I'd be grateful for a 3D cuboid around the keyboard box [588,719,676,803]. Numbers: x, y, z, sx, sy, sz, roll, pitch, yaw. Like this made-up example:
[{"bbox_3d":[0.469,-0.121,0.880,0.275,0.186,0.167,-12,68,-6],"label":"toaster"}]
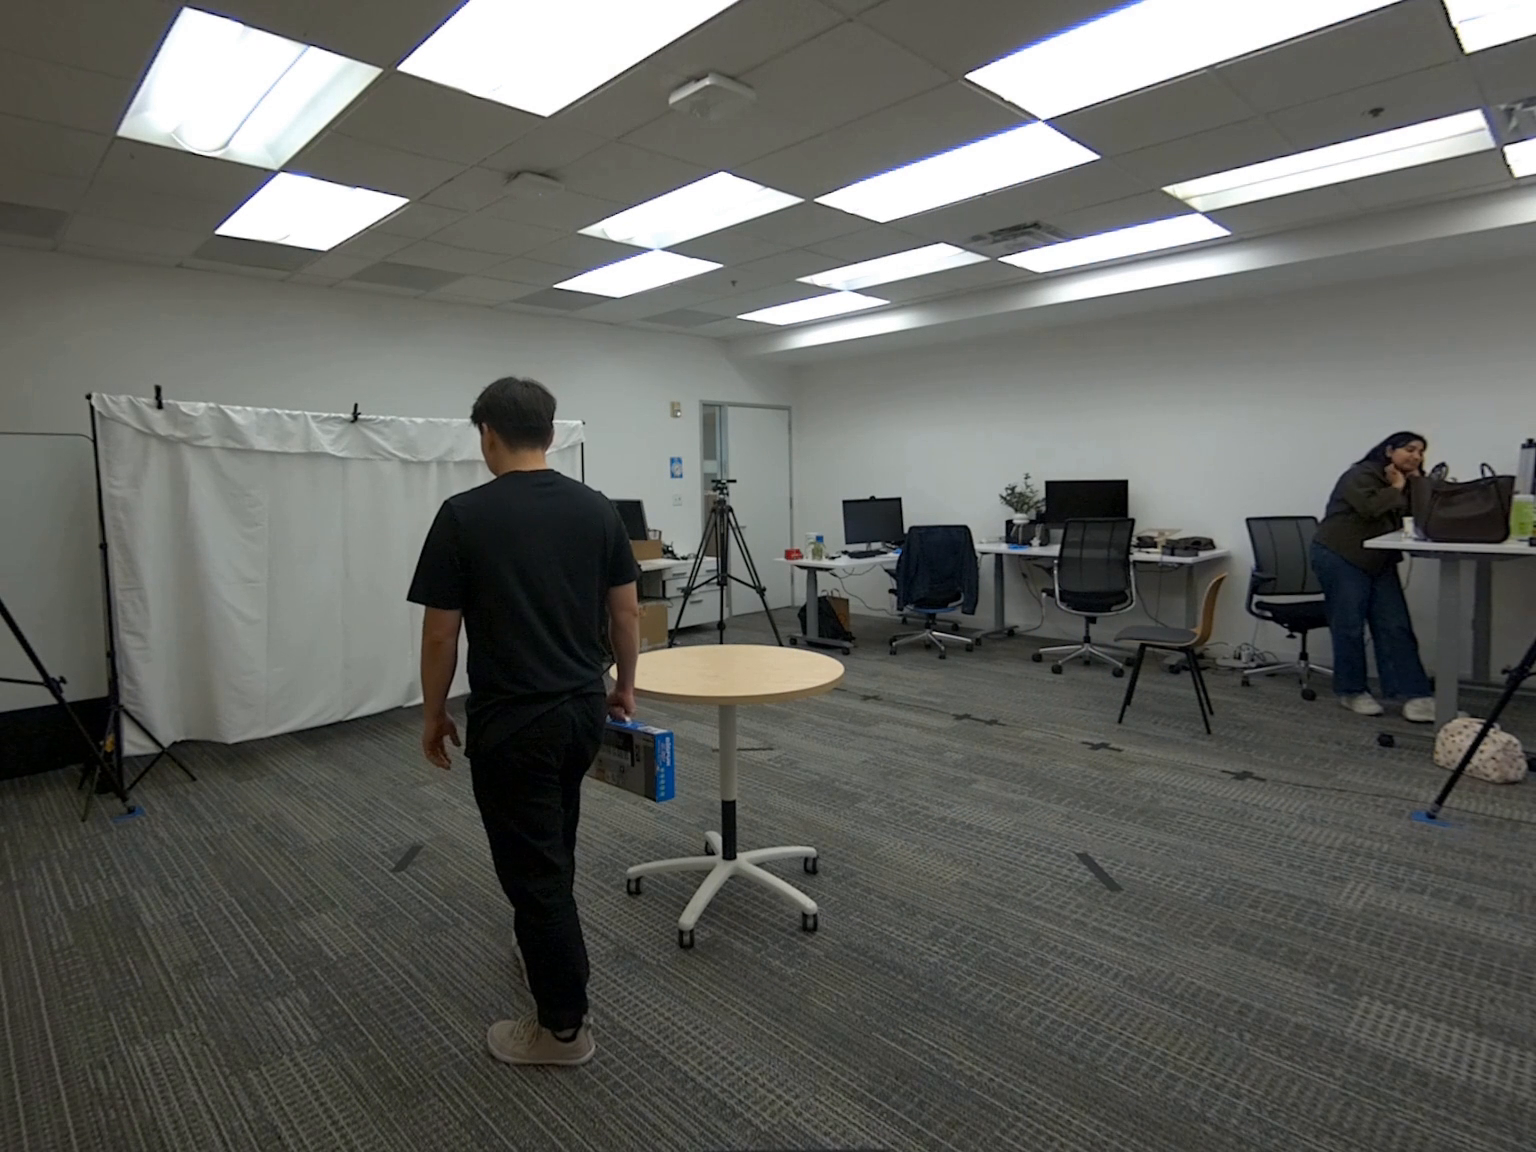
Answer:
[{"bbox_3d":[-0.405,0.486,2.345,0.057,0.176,0.449,-2,1,-39],"label":"keyboard box"}]
